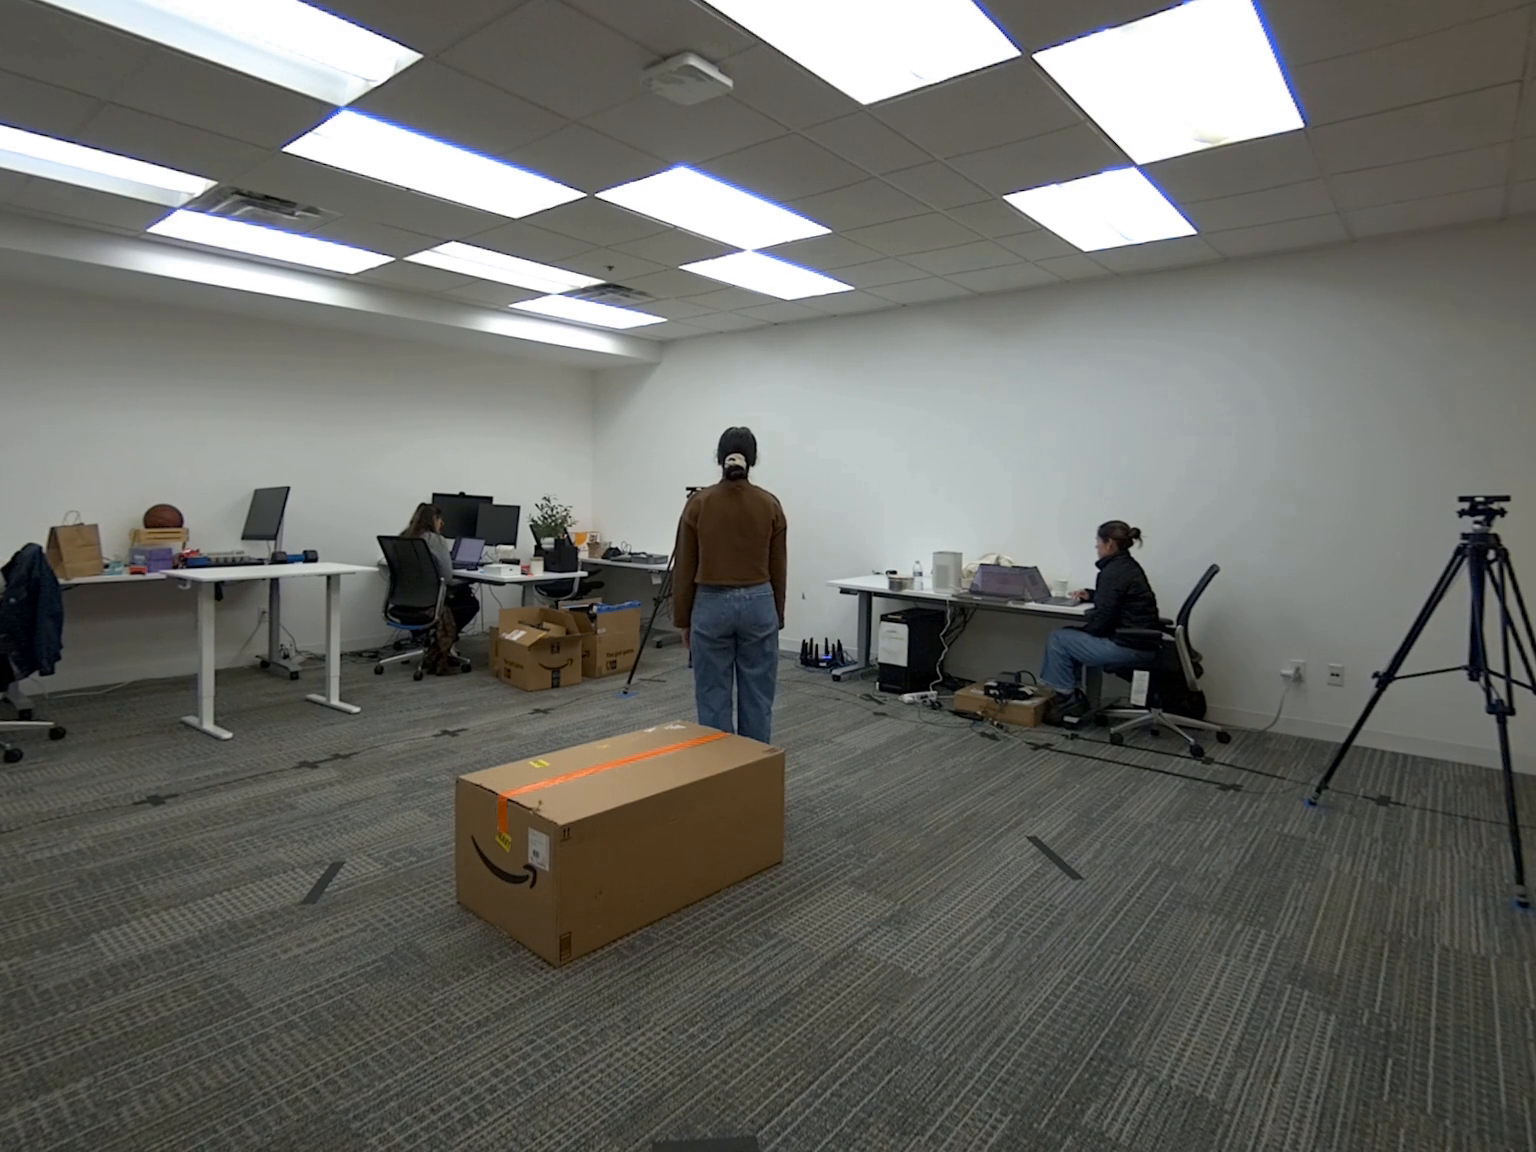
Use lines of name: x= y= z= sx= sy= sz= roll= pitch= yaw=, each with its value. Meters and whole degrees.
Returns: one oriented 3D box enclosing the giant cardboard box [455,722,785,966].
giant cardboard box: x=-0.501 y=0.864 z=2.986 sx=0.604 sy=0.445 sz=0.996 roll=6 pitch=7 yaw=42
